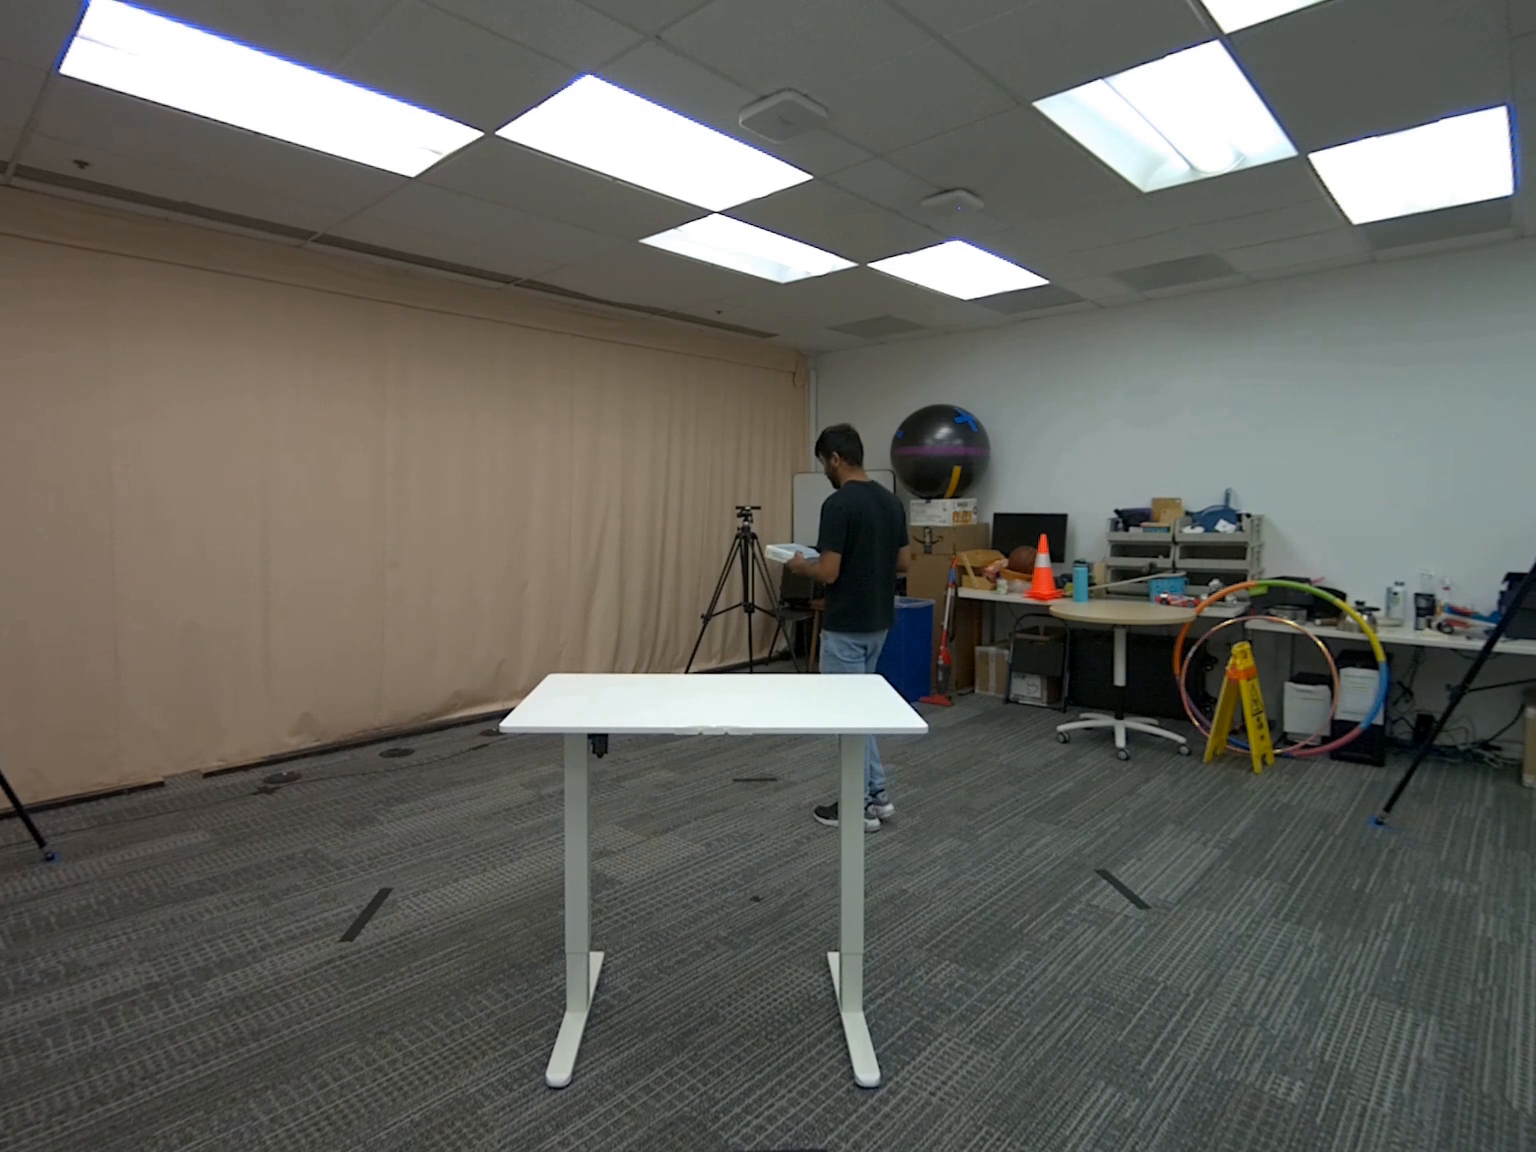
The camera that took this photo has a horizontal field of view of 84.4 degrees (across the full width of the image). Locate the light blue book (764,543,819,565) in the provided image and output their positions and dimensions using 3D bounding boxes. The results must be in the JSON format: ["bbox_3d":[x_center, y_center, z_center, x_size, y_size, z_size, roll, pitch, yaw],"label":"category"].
[{"bbox_3d":[0.139,-0.088,3.863,0.270,0.059,0.186,14,14,37],"label":"light blue book"}]
